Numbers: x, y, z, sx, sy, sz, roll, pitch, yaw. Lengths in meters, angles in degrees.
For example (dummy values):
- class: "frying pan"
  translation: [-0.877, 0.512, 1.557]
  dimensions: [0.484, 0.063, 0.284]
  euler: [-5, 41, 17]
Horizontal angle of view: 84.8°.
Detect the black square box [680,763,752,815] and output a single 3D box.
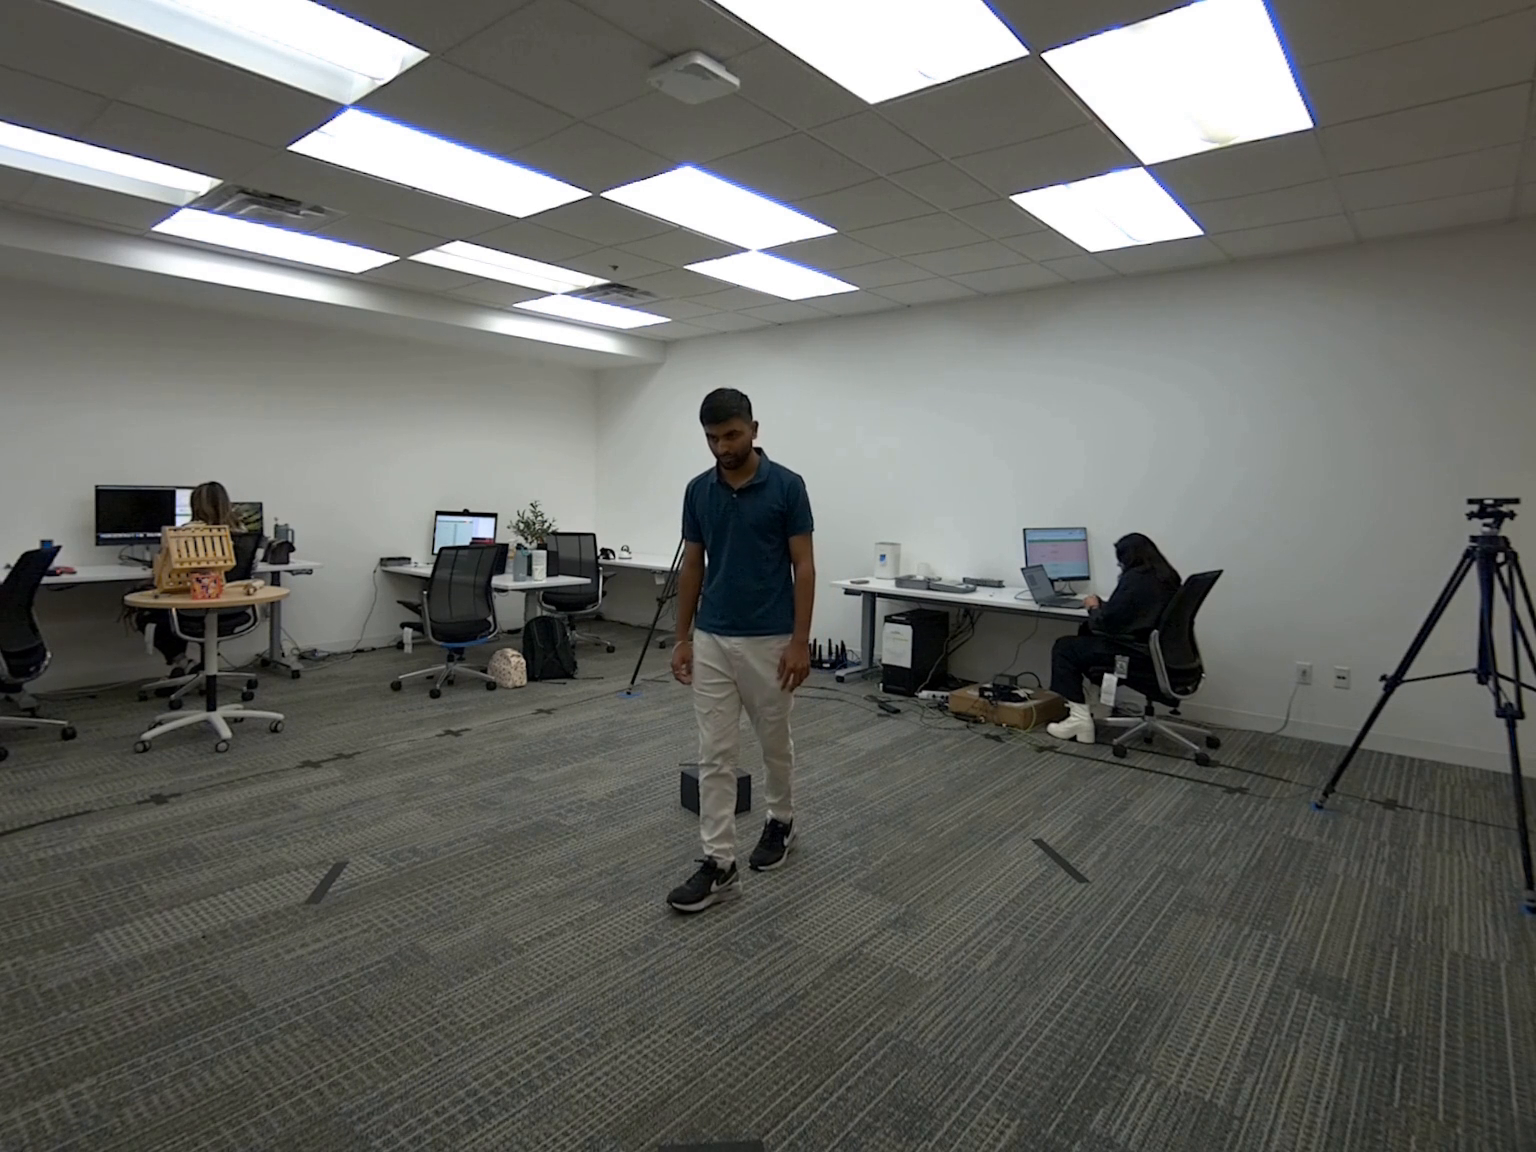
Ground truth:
- class: "black square box"
  translation: [-0.236, 0.925, 3.700]
  dimensions: [0.221, 0.155, 0.224]
  euler: [-3, 6, -39]
